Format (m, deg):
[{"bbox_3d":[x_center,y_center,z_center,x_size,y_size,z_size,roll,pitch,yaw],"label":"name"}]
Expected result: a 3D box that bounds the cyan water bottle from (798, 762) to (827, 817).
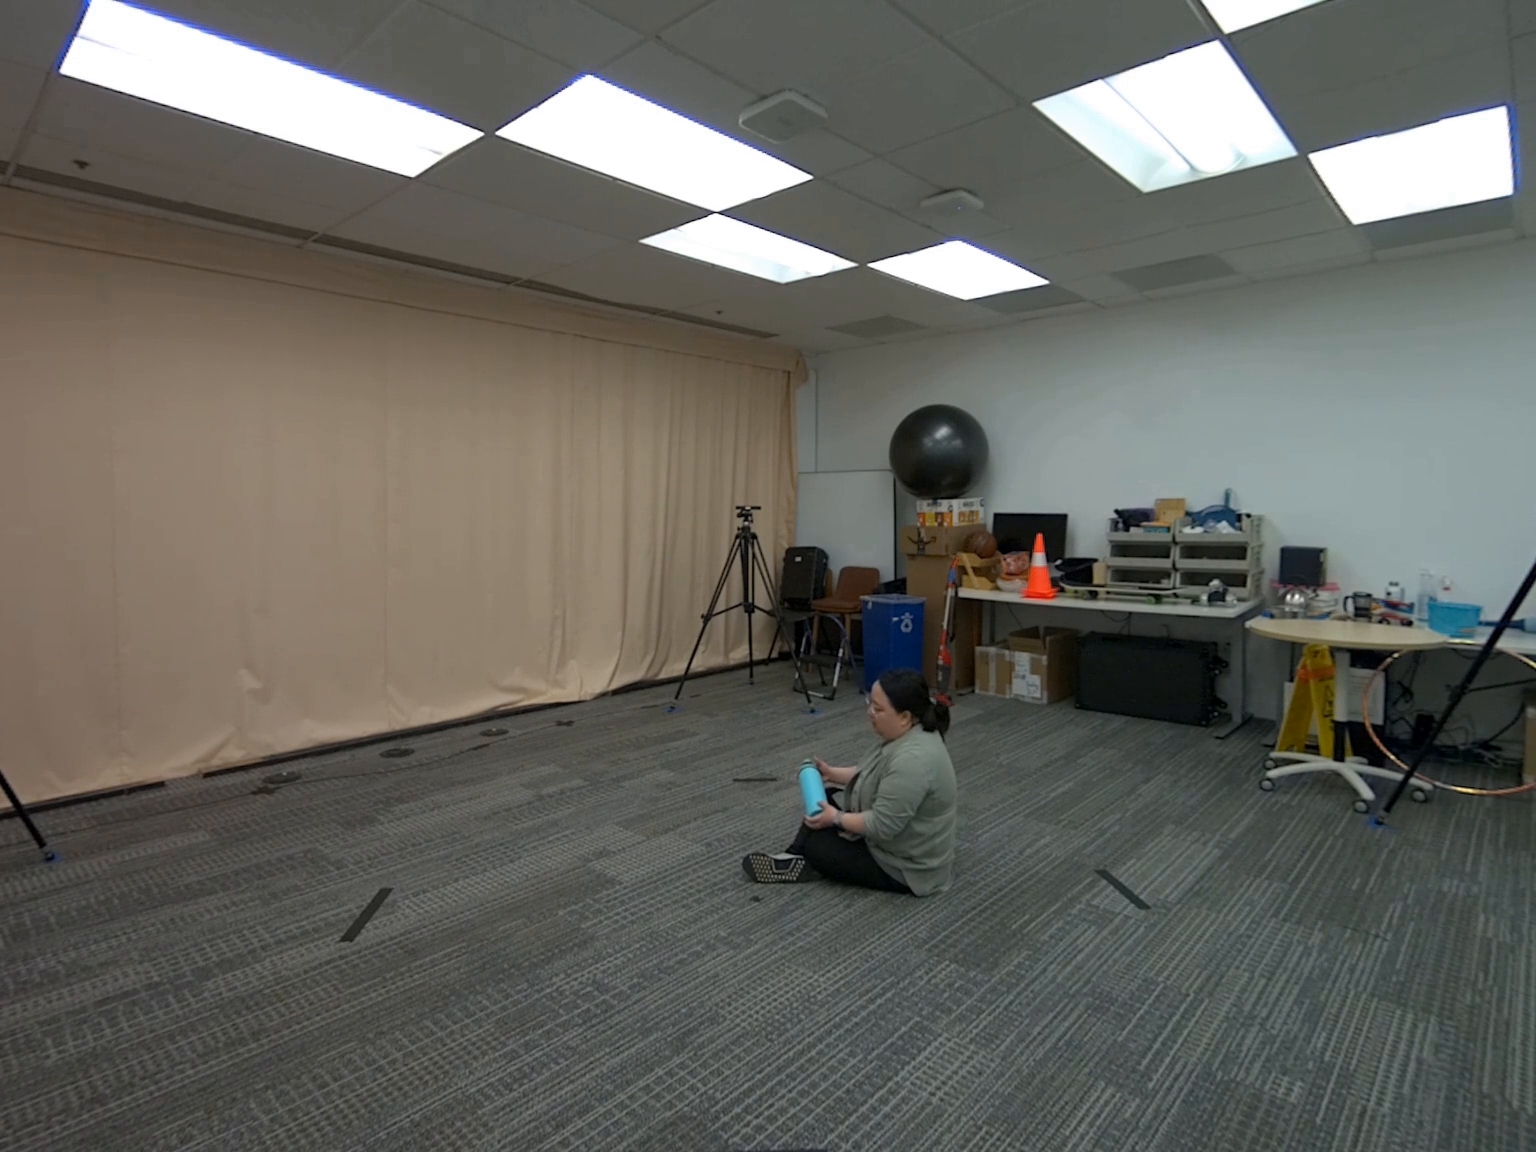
[{"bbox_3d":[0.184,0.836,3.250,0.092,0.091,0.288,-1,28,-2],"label":"cyan water bottle"}]
